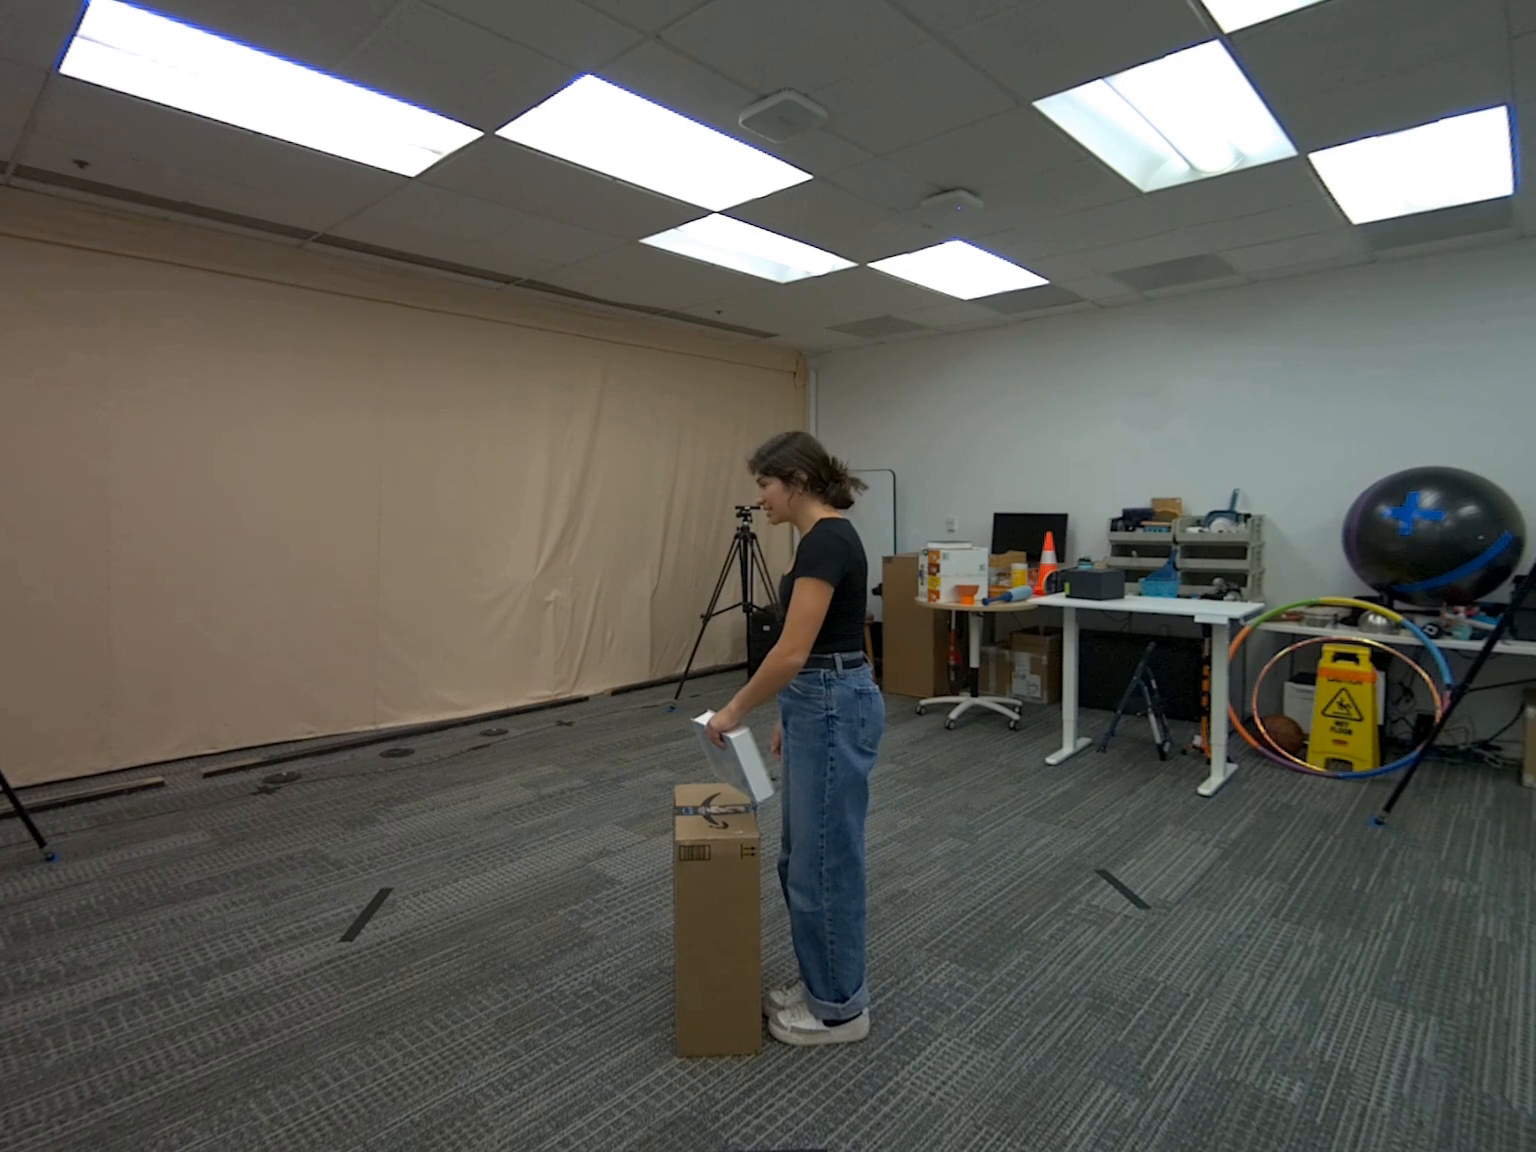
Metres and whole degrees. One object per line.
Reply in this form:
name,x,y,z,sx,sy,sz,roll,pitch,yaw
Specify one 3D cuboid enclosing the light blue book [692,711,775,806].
light blue book,-0.092,0.472,2.227,0.058,0.190,0.267,-25,11,-24
